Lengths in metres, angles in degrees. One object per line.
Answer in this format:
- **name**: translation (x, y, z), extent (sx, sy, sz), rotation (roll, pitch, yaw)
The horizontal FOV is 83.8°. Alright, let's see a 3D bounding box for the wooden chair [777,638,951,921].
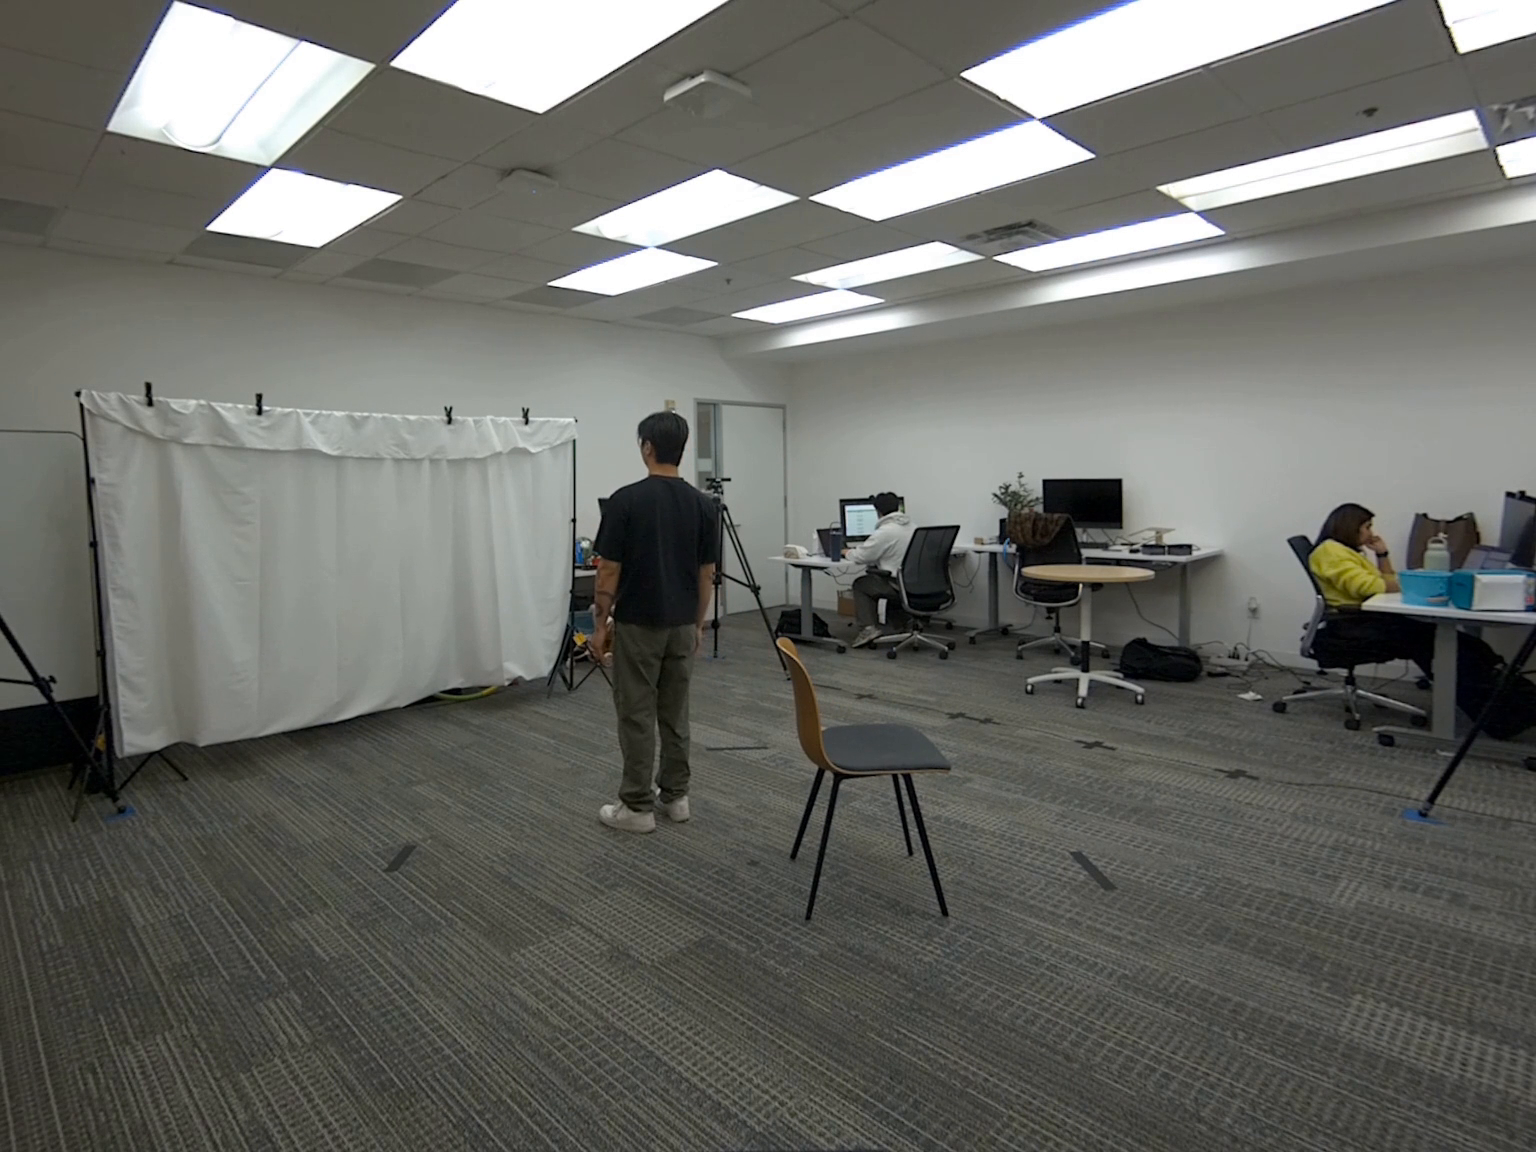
- **wooden chair**: translation (0.327, 0.633, 2.894), extent (0.522, 0.874, 0.481), rotation (-5, 4, -4)
